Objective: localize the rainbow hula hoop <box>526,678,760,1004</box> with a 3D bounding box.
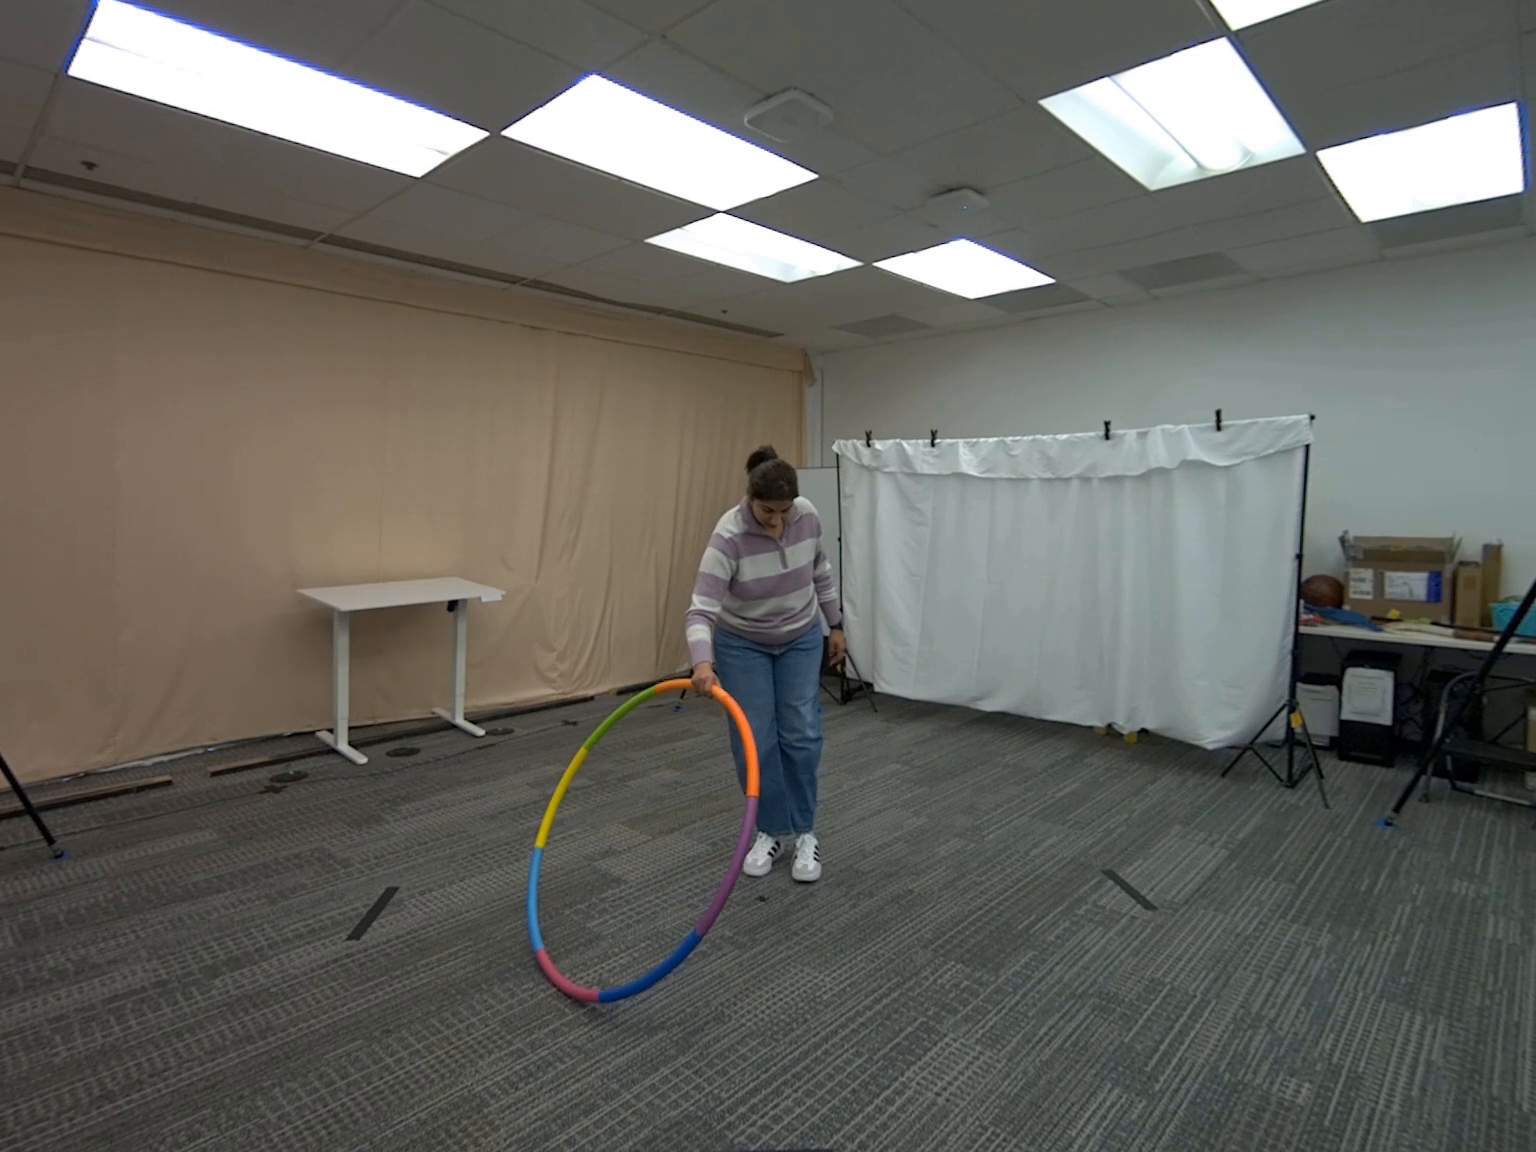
[{"bbox_3d":[-0.414,0.767,2.585,0.034,0.979,1.011,38,-20,-34],"label":"rainbow hula hoop"}]
